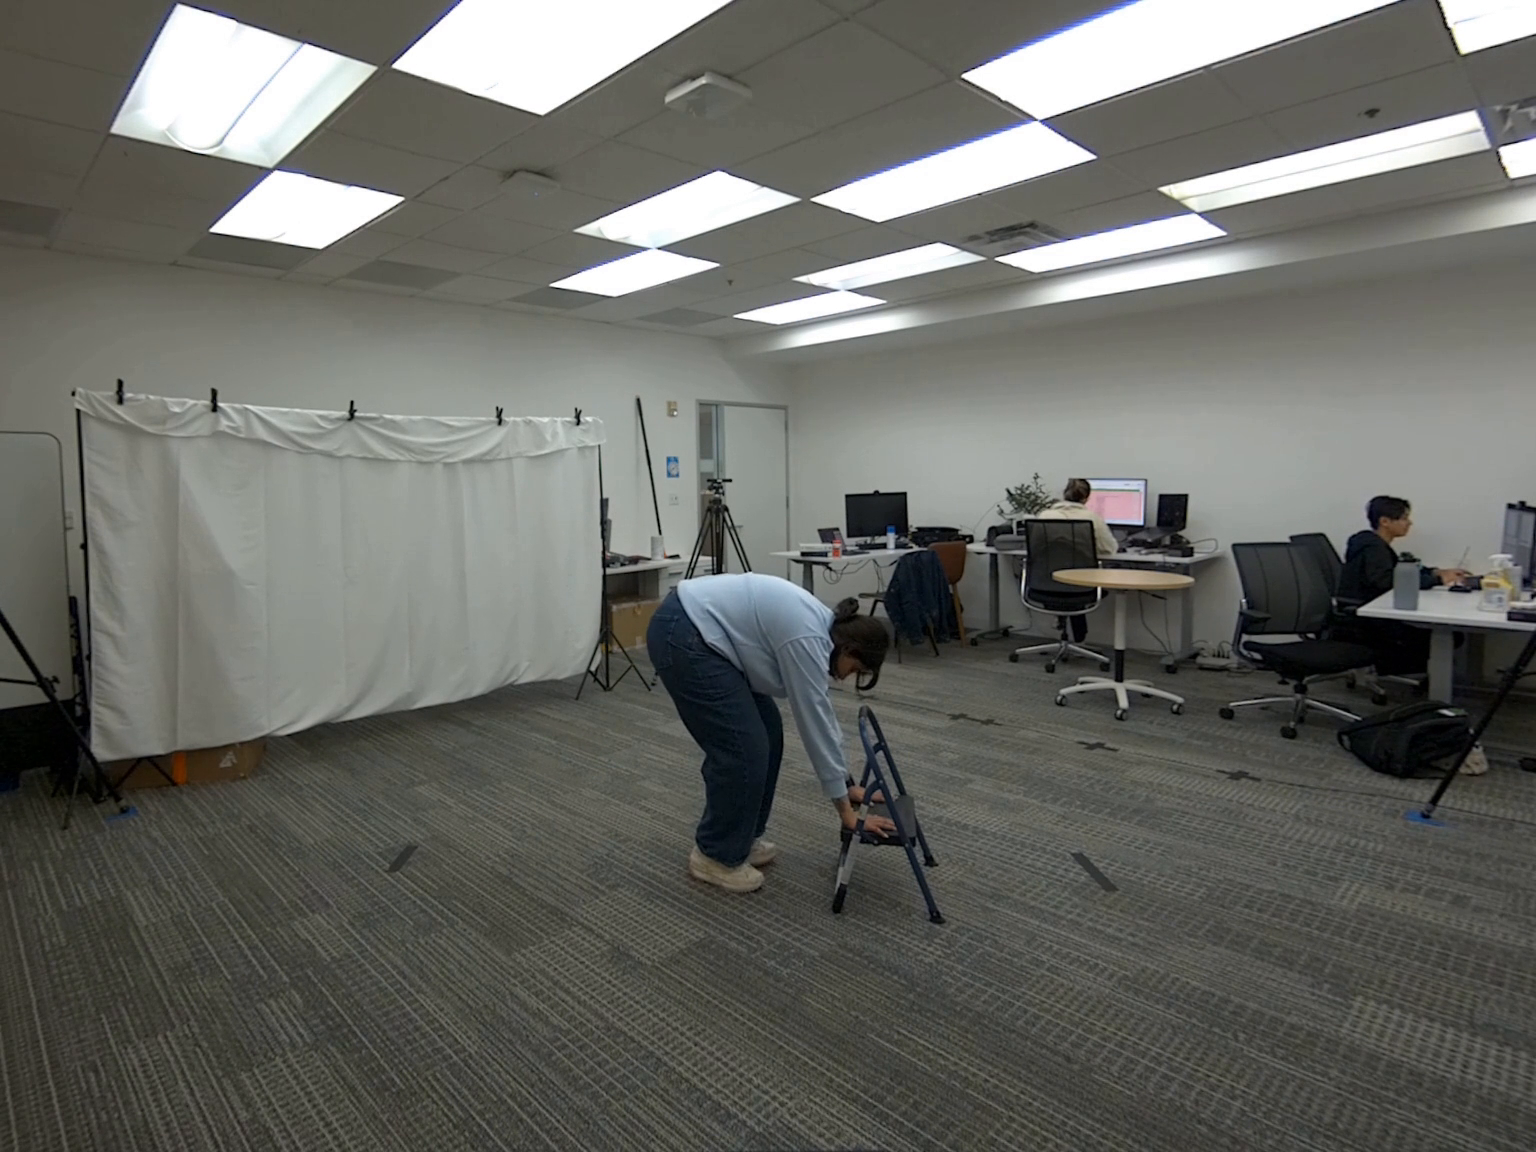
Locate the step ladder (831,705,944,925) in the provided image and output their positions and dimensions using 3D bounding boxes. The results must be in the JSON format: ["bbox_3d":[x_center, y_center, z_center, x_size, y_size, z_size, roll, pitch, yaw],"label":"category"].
[{"bbox_3d":[0.401,0.755,2.886,0.353,0.604,0.428,0,4,9],"label":"step ladder"}]
